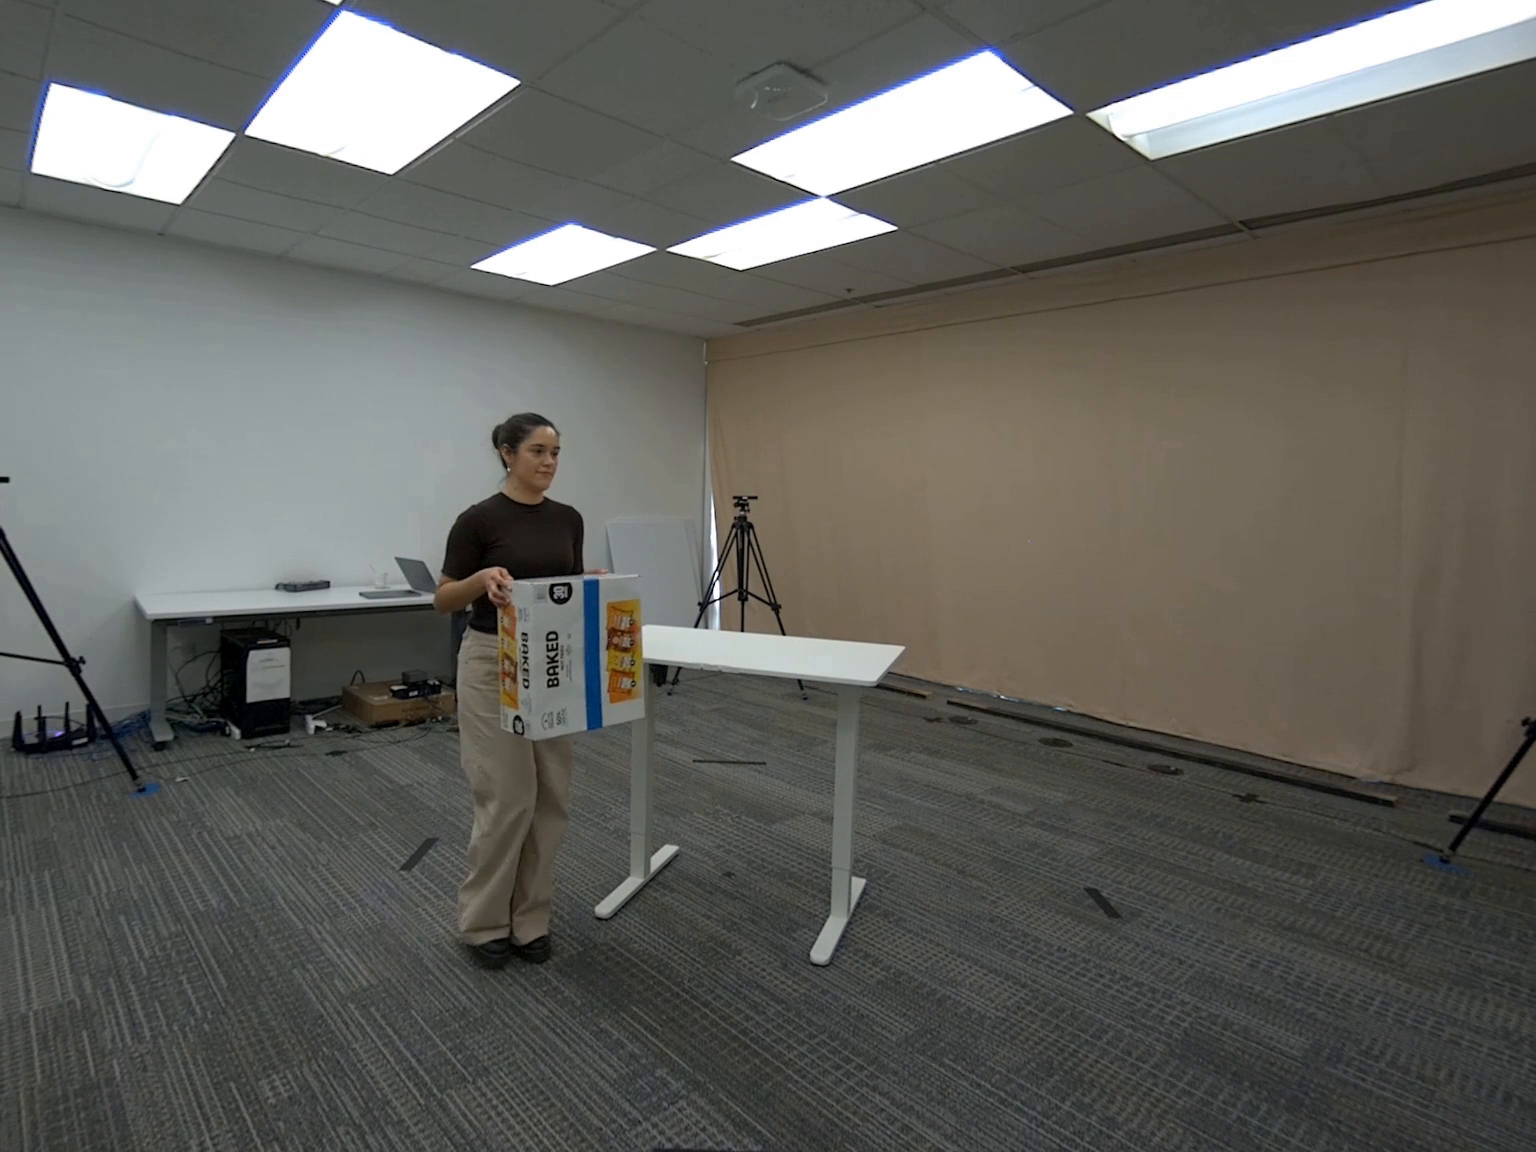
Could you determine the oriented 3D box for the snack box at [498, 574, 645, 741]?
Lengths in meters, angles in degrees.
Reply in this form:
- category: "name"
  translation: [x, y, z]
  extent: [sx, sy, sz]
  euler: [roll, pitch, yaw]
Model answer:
- category: "snack box"
  translation: [-0.558, 0.212, 2.299]
  extent: [0.333, 0.404, 0.211]
  euler: [-4, 4, -43]
